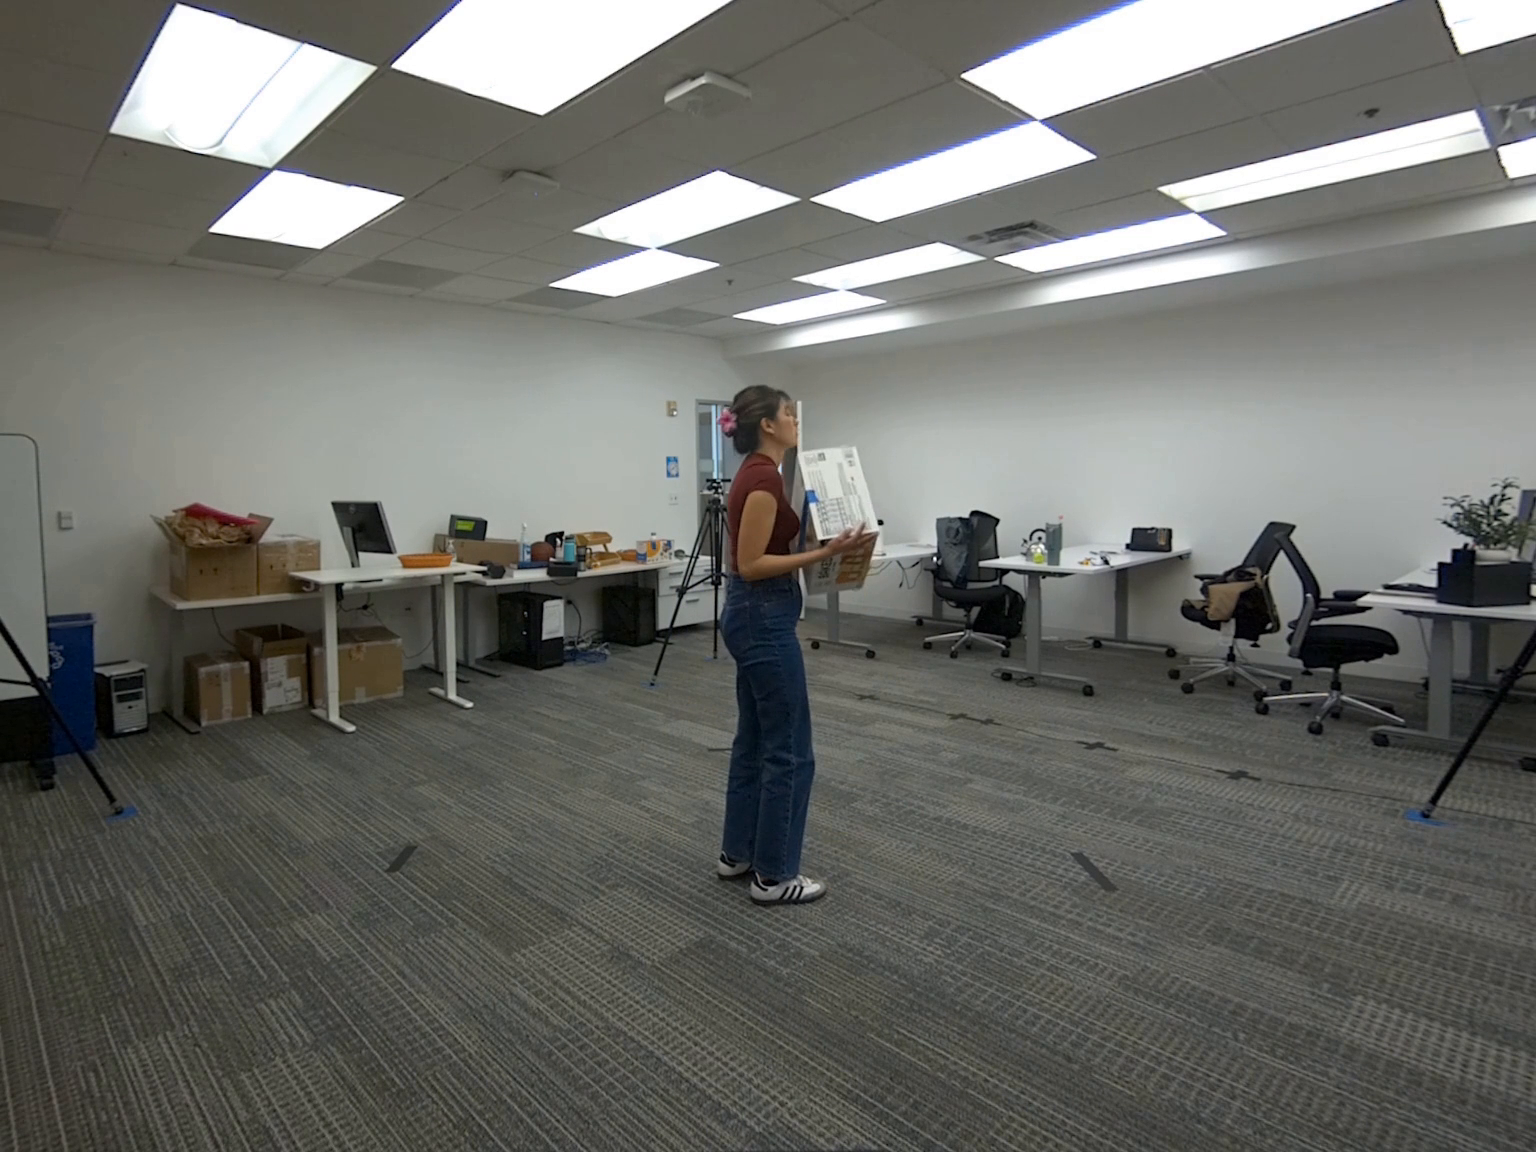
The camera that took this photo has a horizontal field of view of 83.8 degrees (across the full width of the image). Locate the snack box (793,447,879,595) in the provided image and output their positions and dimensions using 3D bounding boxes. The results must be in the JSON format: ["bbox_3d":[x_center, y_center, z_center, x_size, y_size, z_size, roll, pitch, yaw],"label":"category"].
[{"bbox_3d":[0.218,-0.174,2.935,0.205,0.350,0.396,-8,-28,-6],"label":"snack box"}]
